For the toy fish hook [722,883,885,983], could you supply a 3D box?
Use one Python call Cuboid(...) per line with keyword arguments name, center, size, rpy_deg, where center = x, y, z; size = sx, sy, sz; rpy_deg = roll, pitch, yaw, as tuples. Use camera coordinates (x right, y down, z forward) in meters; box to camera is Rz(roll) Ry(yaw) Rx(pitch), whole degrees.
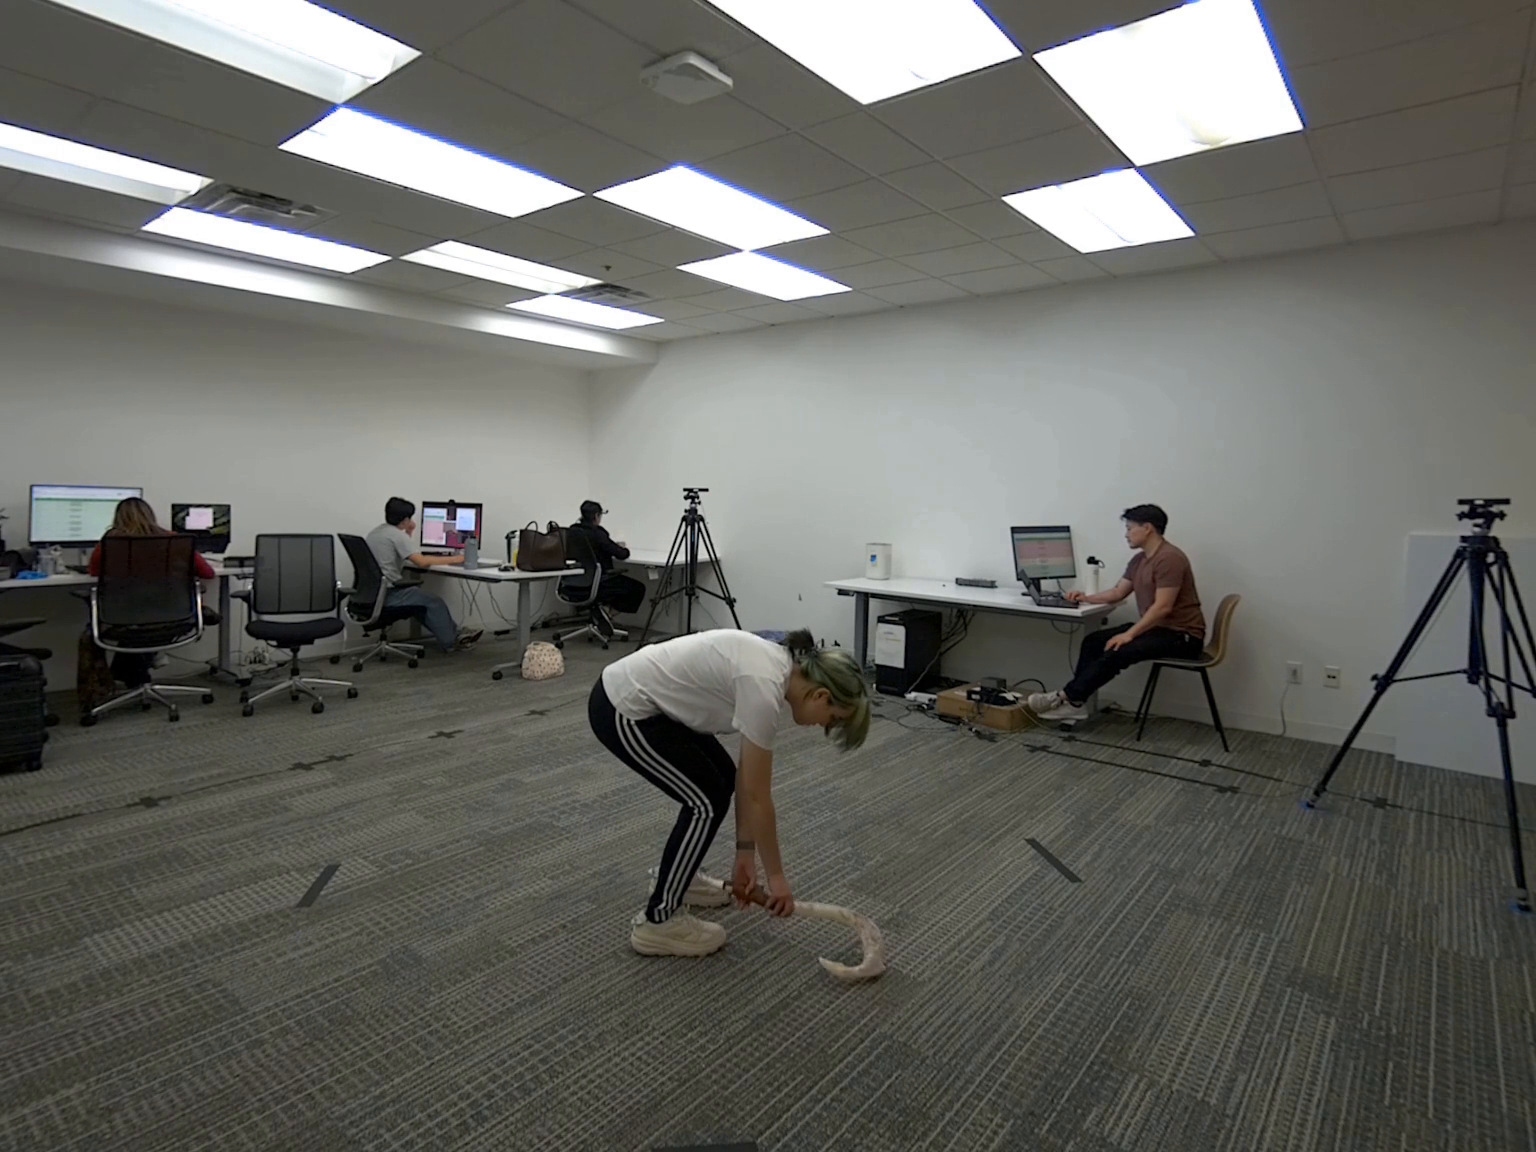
Cuboid(name="toy fish hook", center=(0.103, 1.032, 2.459), size=(0.505, 0.047, 0.229), rpy_deg=(14, 27, -3))
